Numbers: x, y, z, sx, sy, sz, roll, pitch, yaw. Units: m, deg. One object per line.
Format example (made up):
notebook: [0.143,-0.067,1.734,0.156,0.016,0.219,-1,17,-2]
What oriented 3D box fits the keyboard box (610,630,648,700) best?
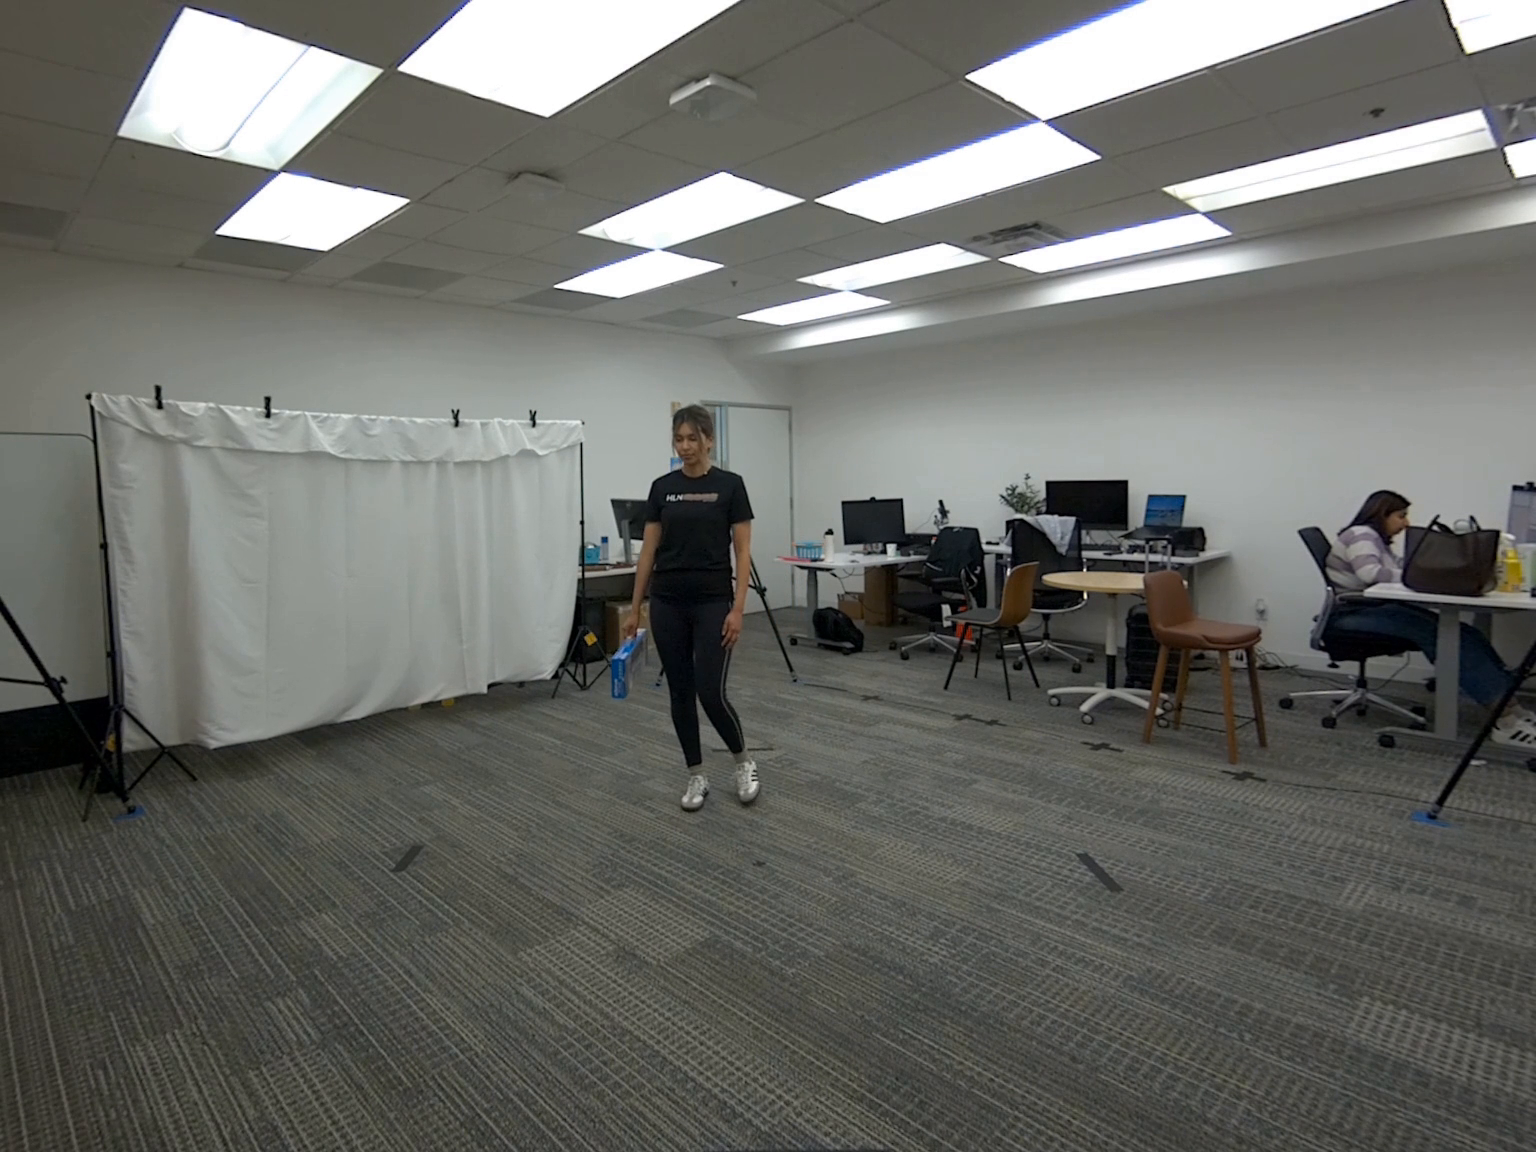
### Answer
keyboard box: [-0.591,0.369,3.733,0.059,0.174,0.439,1,12,4]
